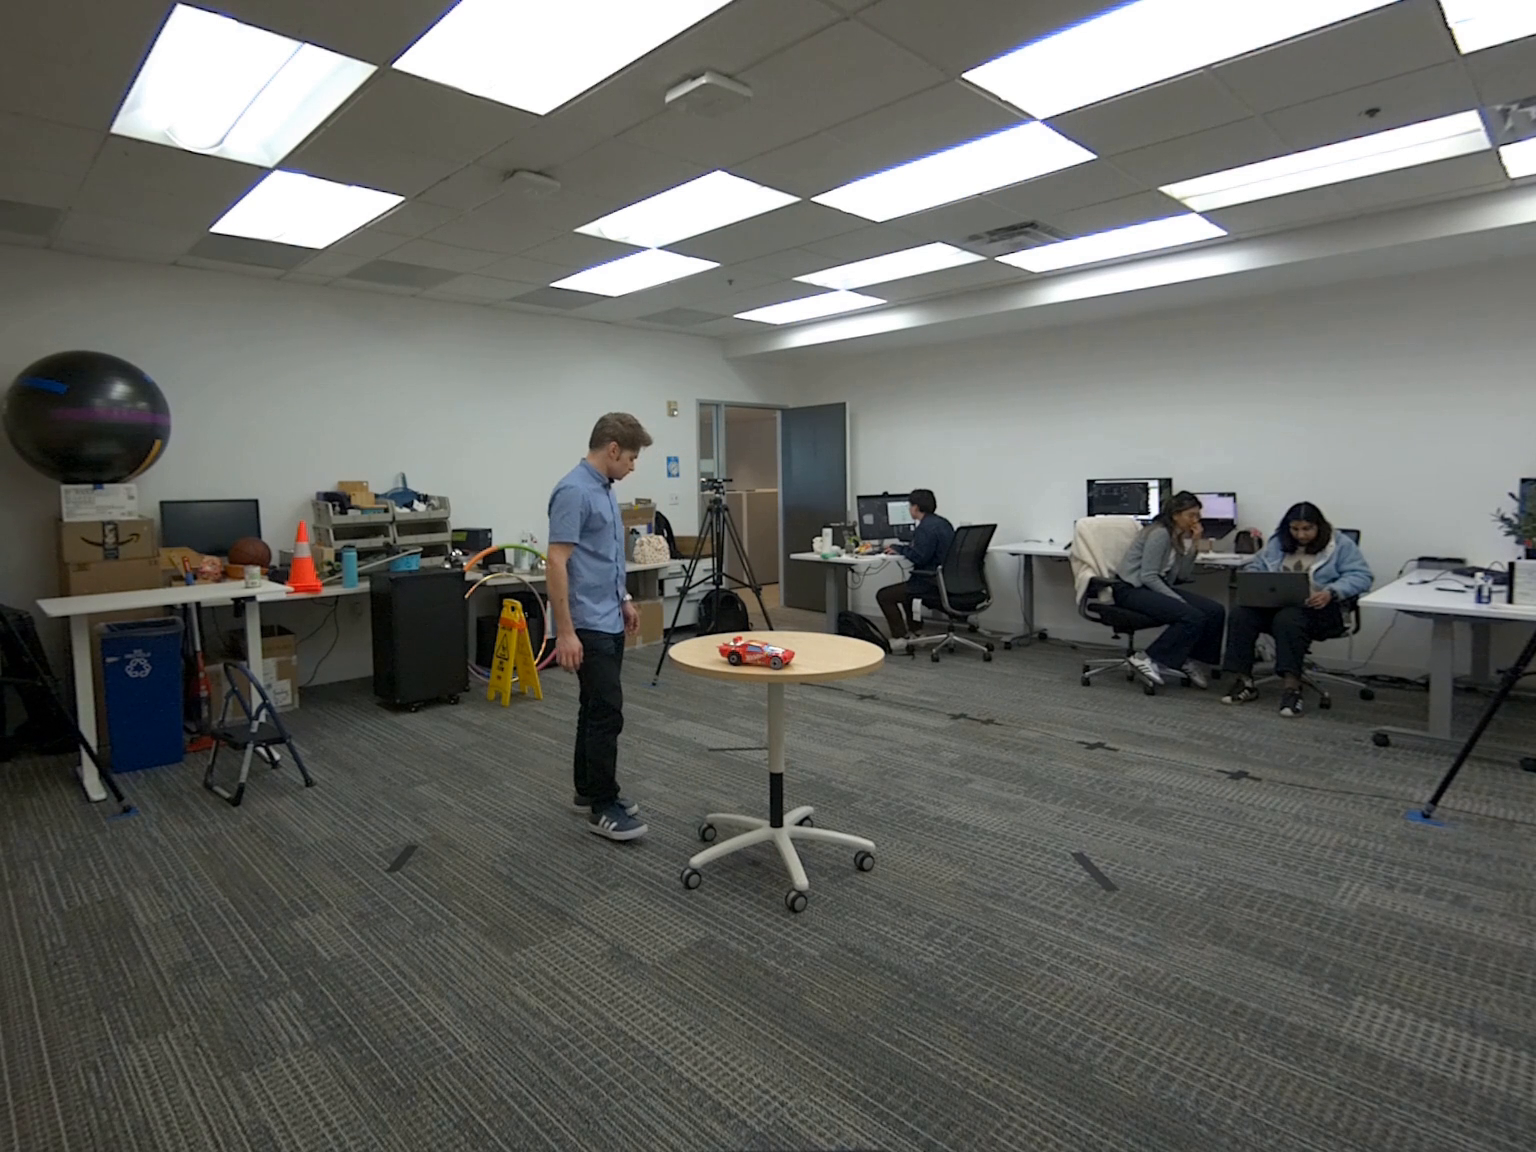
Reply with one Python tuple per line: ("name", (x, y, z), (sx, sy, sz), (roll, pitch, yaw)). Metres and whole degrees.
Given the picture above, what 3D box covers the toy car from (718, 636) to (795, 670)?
("toy car", (-0.038, 0.260, 2.829), (0.261, 0.082, 0.128), (14, 10, 22))
